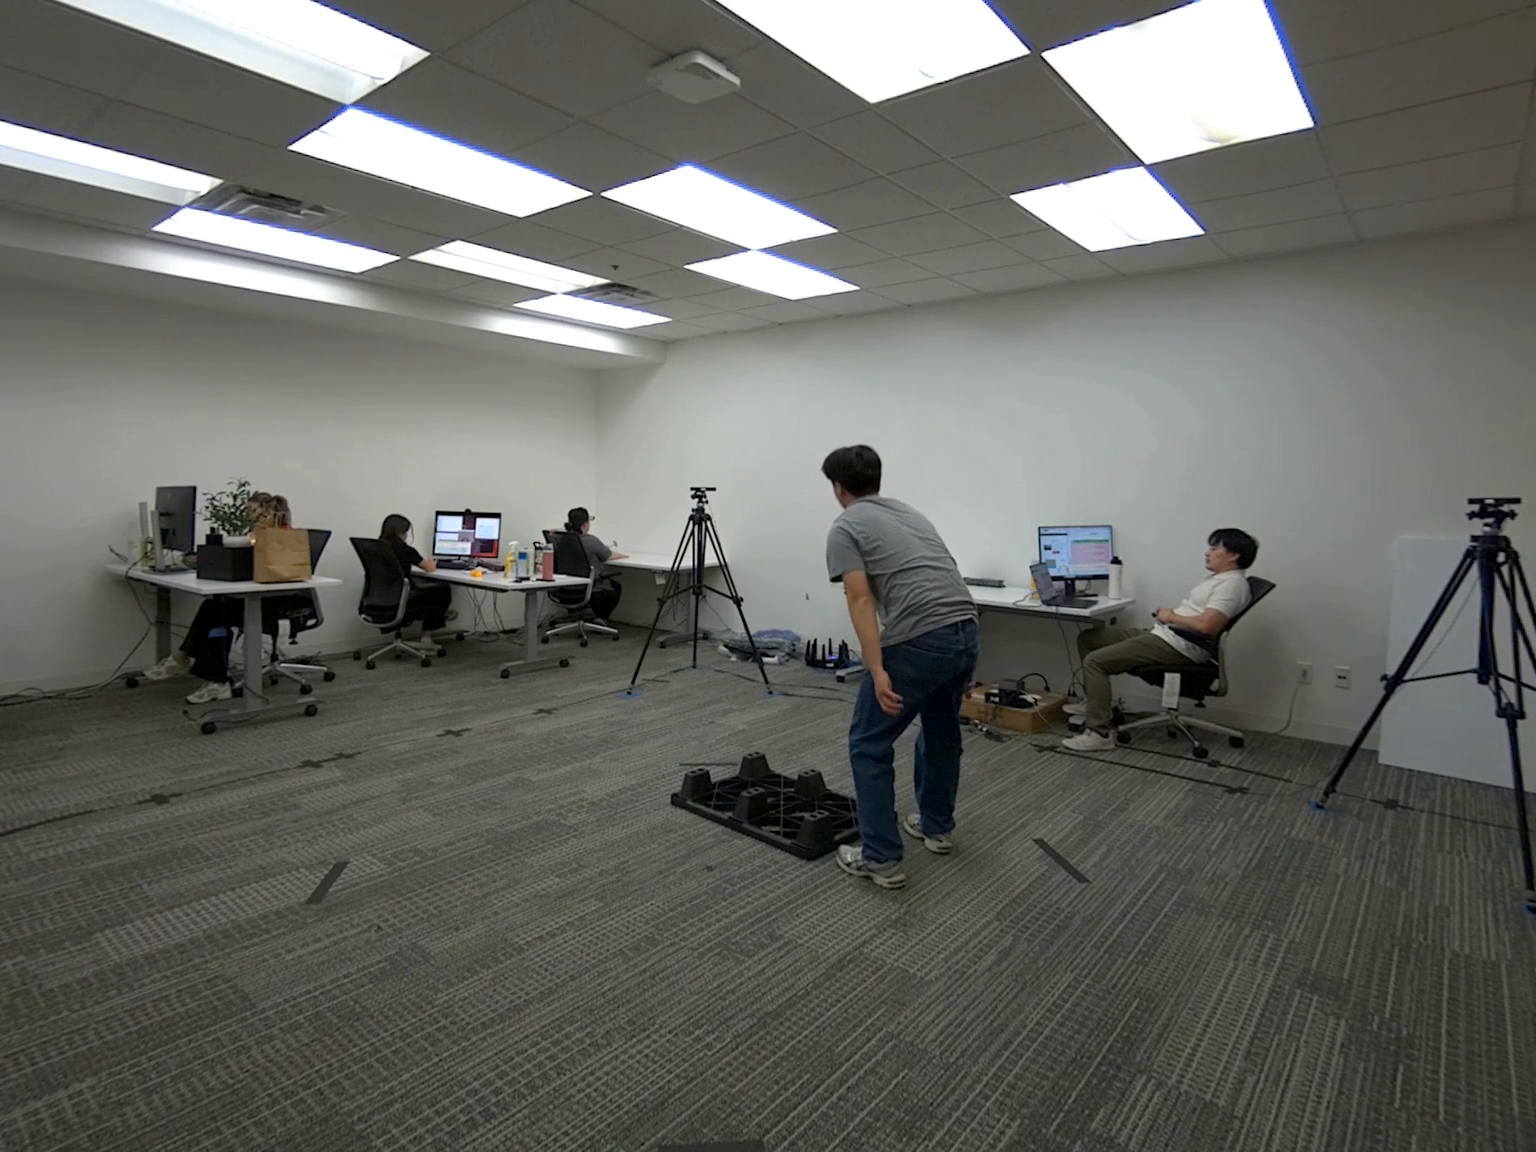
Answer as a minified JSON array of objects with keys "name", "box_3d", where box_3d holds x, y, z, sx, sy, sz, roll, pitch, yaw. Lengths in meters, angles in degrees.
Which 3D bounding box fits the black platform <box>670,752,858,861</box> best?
[{"name":"black platform","box_3d":[0.044,0.949,3.667,0.833,0.143,0.587,6,7,43]}]
